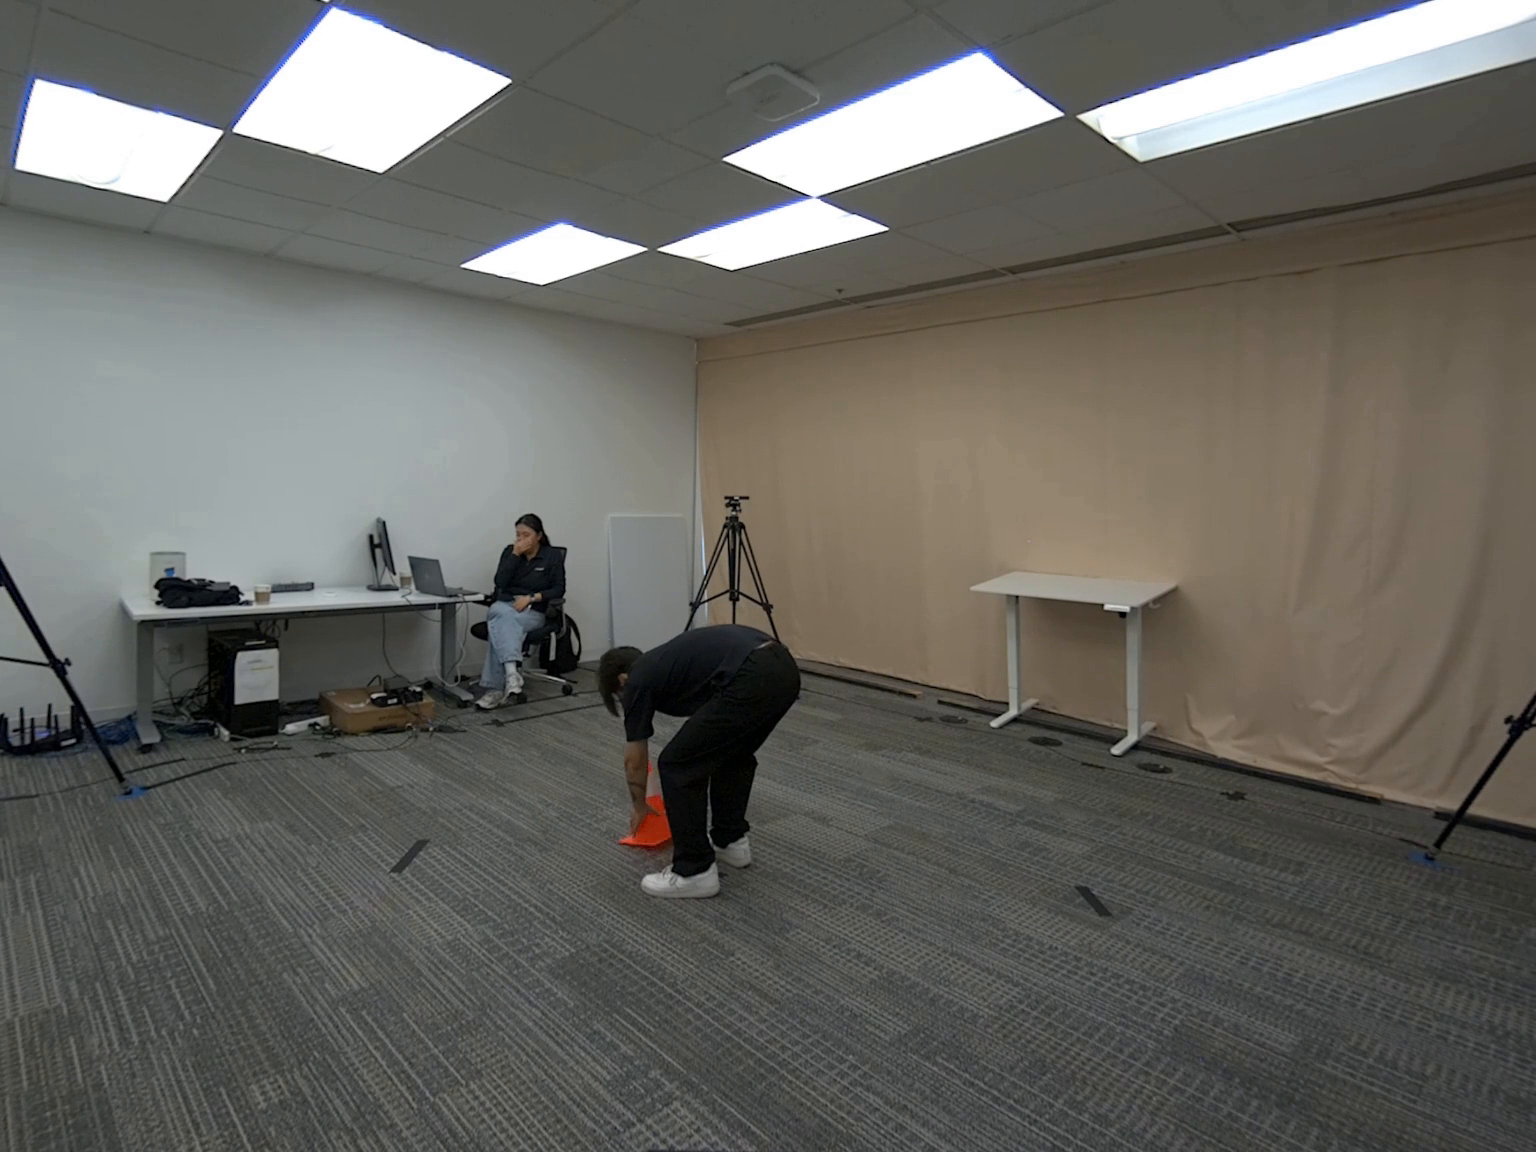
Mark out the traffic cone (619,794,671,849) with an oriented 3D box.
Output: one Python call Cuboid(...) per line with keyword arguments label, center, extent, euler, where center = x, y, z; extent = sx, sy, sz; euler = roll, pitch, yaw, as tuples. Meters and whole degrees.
Cuboid(label="traffic cone", center=(-0.491, 0.855, 3.393), extent=(0.209, 0.385, 0.199), euler=(-10, -6, 34))
